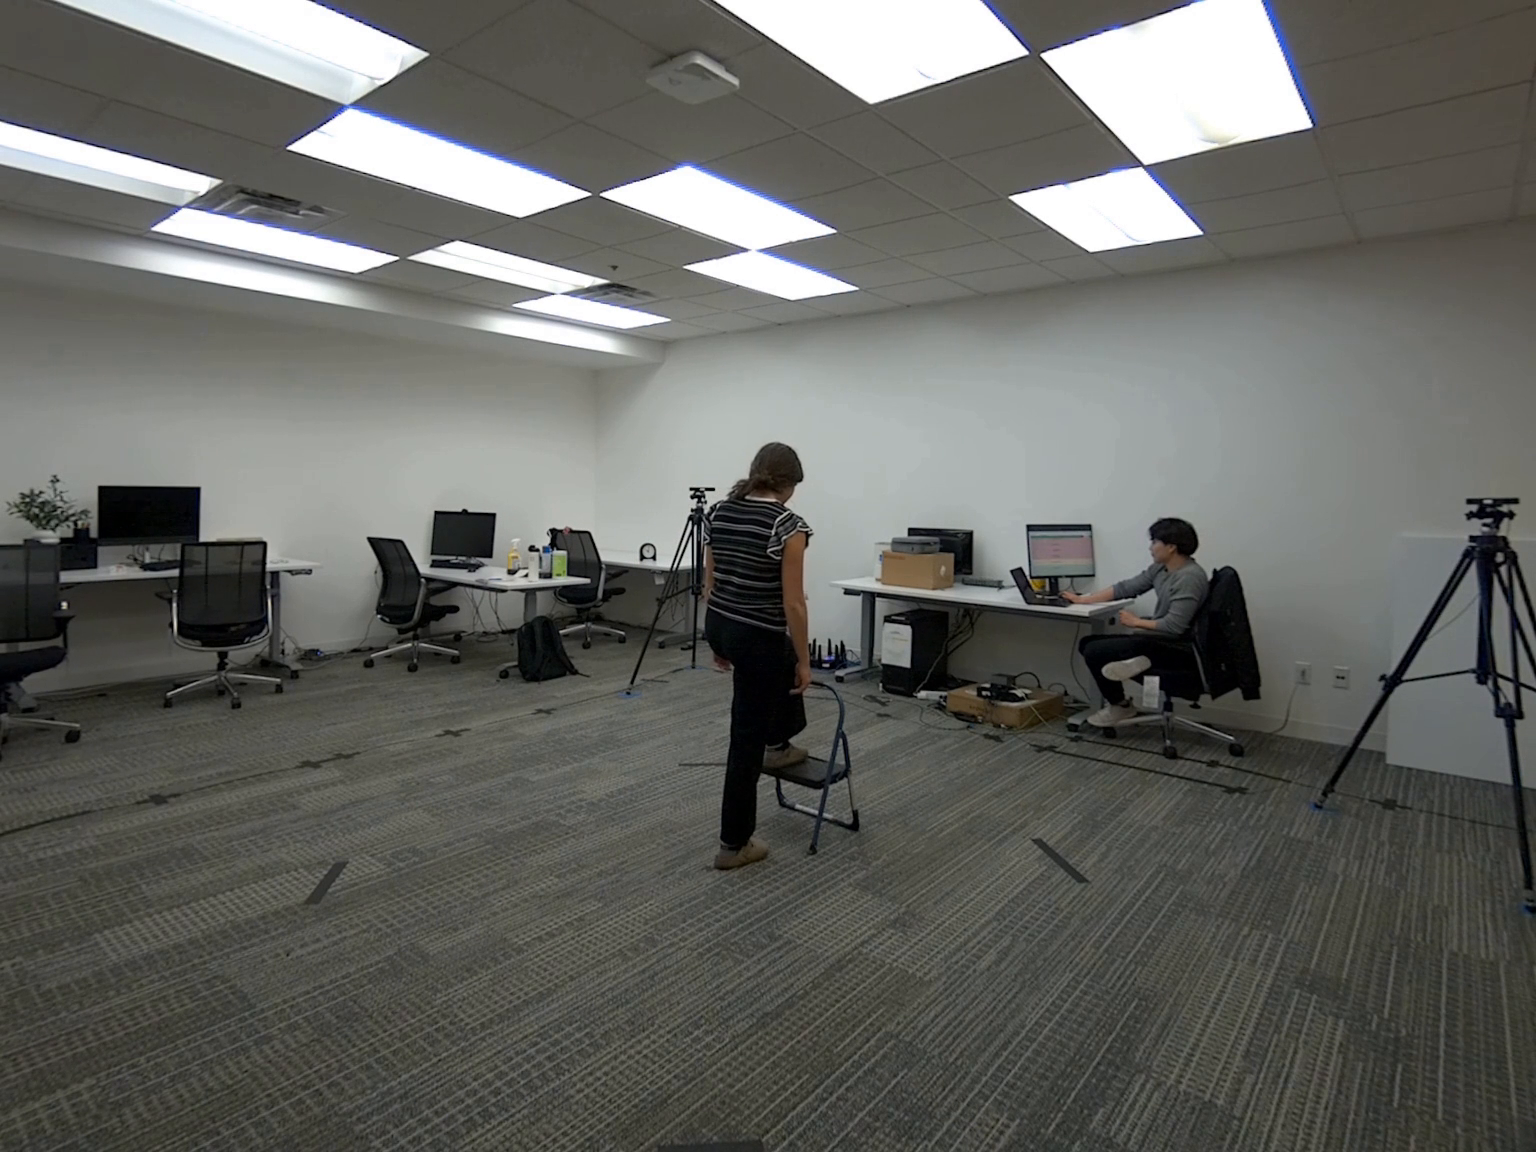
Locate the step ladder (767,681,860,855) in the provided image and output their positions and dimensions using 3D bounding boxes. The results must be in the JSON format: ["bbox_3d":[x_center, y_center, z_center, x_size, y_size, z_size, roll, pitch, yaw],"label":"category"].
[{"bbox_3d":[0.113,0.731,3.496,0.445,0.604,0.339,4,4,40],"label":"step ladder"}]
